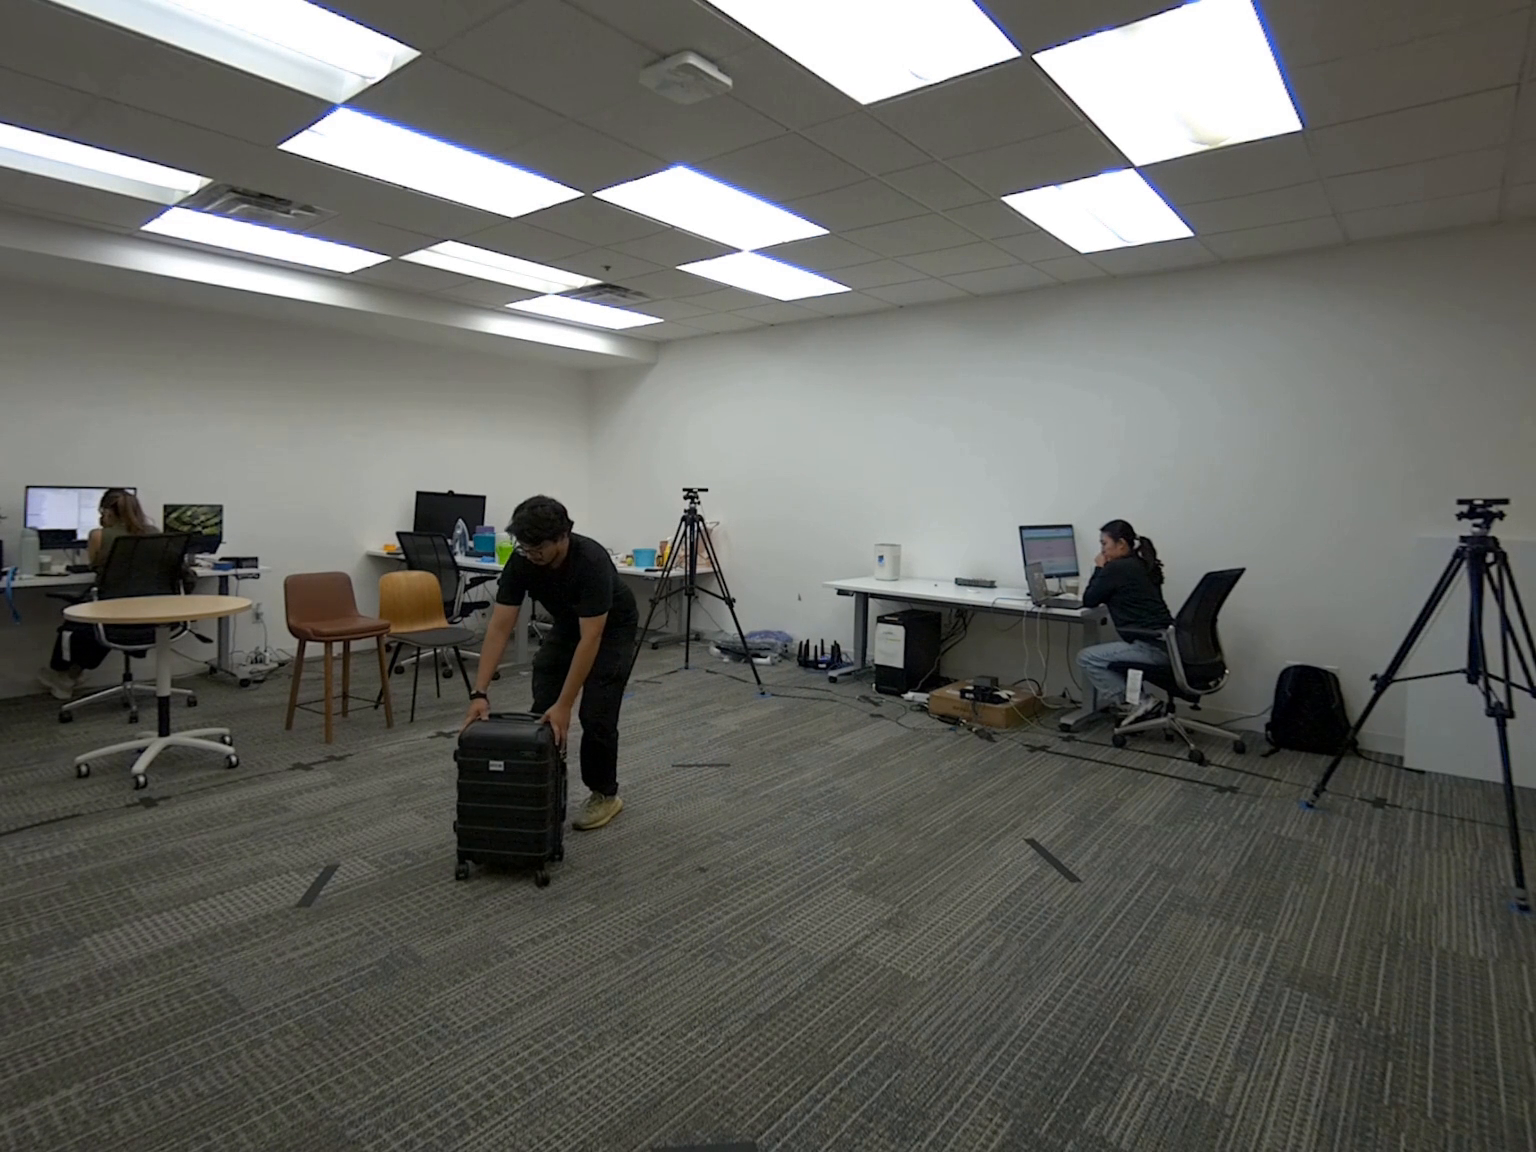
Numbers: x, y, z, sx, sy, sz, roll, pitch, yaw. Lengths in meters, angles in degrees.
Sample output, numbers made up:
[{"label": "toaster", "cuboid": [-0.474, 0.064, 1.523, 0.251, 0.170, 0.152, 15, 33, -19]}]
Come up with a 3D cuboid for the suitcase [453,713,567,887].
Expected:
[{"label": "suitcase", "cuboid": [-0.950, 0.786, 3.097, 0.378, 0.549, 0.247, 1, 1, 5]}]
